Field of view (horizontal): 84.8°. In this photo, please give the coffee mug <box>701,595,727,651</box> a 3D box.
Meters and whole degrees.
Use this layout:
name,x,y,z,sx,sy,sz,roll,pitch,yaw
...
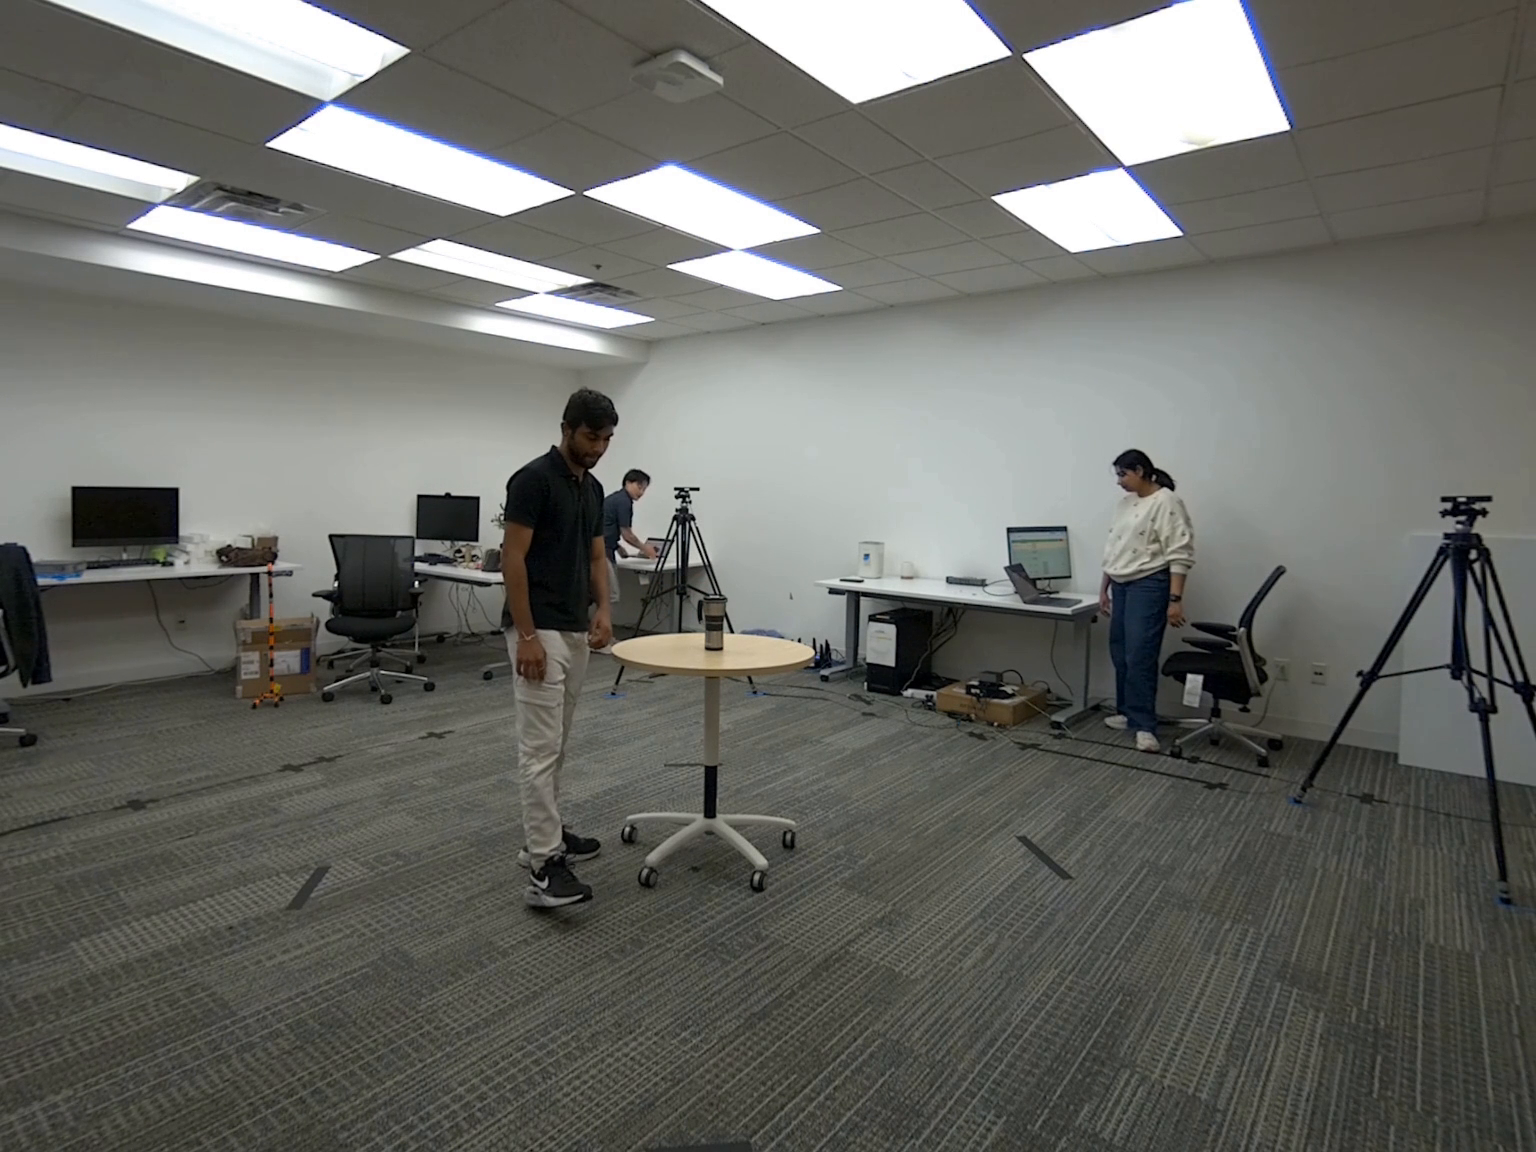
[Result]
name,x,y,z,sx,sy,sz,roll,pitch,yaw
coffee mug,-0.224,0.177,3.219,0.086,0.201,0.126,-4,11,-28
